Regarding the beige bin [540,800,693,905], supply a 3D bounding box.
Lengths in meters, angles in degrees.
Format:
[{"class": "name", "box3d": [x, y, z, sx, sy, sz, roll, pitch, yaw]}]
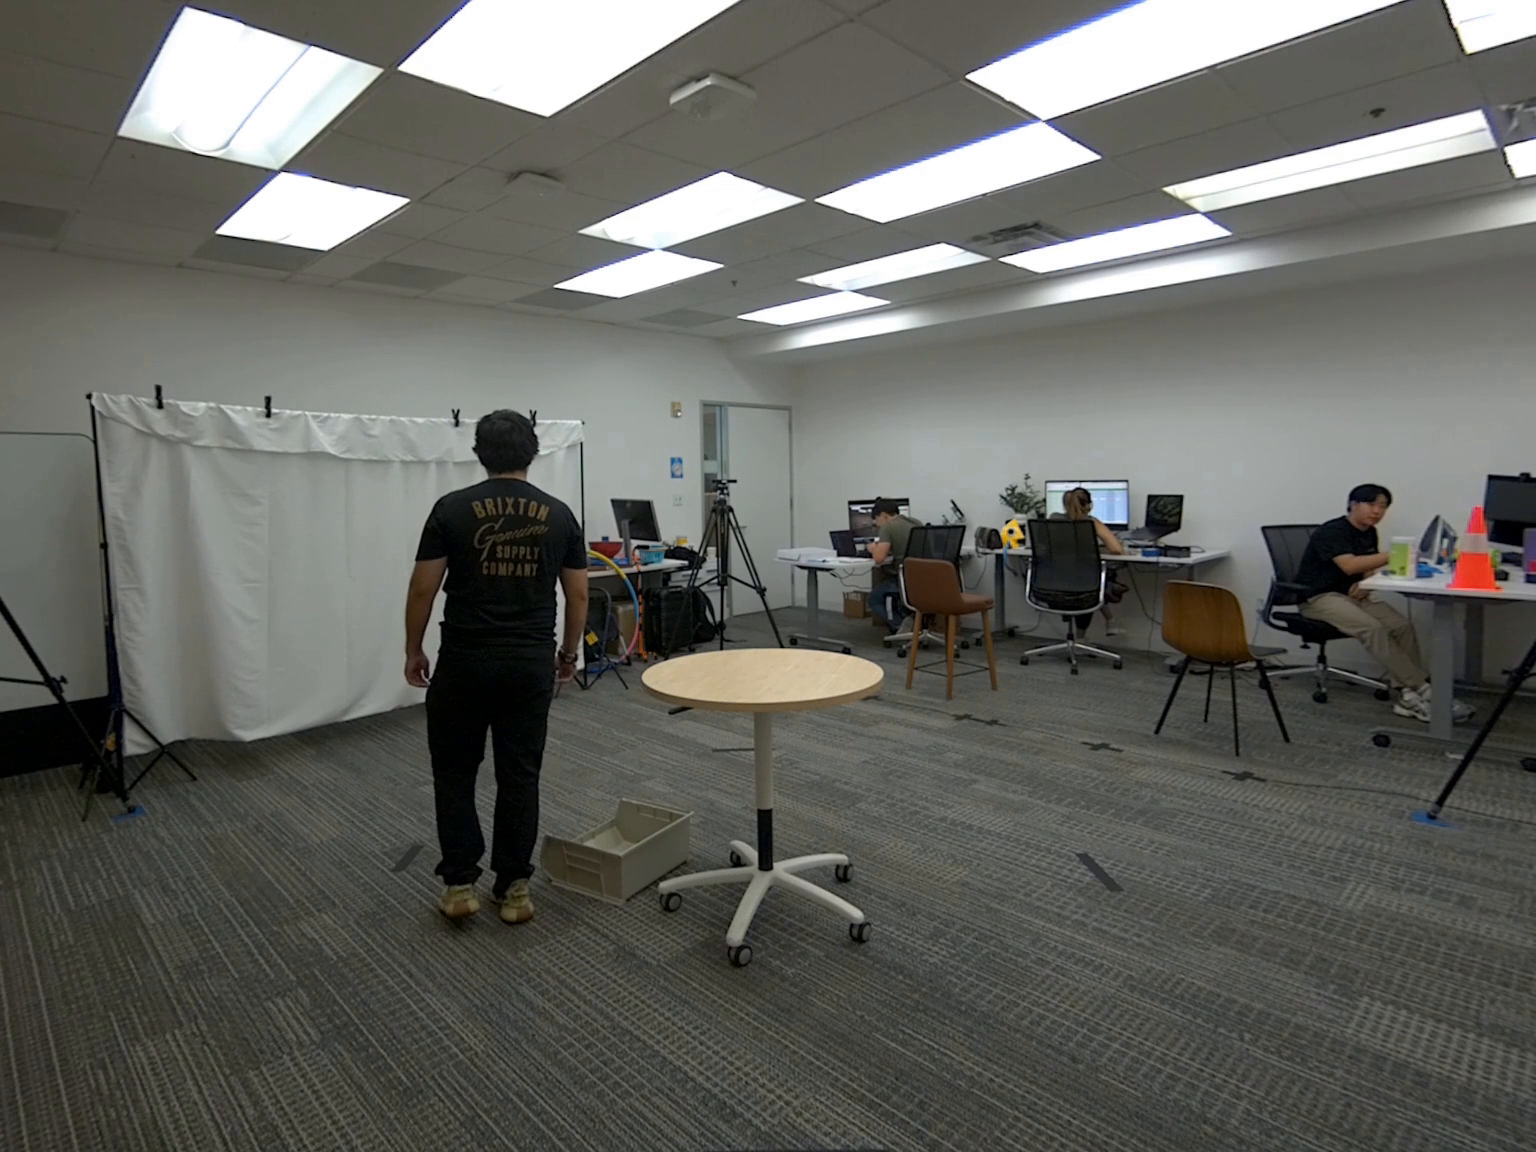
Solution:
[{"class": "beige bin", "box3d": [-0.534, 0.971, 3.069, 0.388, 0.188, 0.413, 3, 7, 31]}]
